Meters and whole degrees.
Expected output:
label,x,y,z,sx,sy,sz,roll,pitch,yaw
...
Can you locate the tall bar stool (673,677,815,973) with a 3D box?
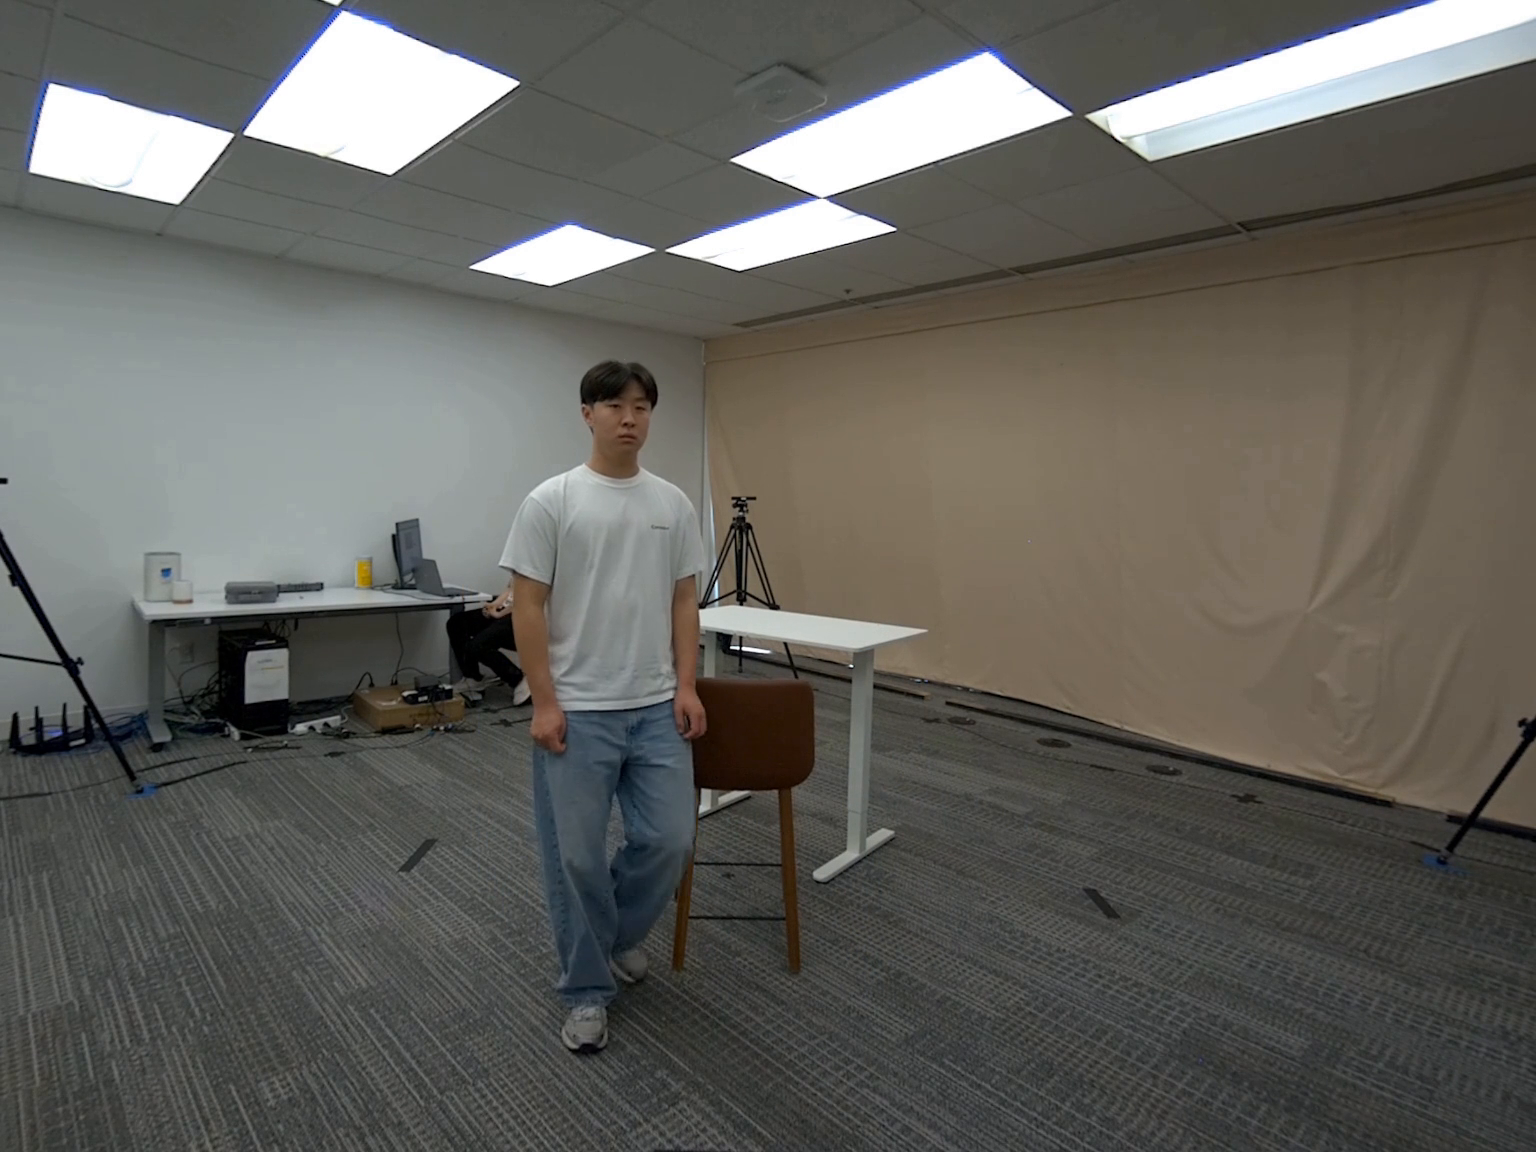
label,x,y,z,sx,sy,sz,roll,pitch,yaw
tall bar stool,-0.109,0.712,2.665,0.455,0.886,0.471,1,6,-4
